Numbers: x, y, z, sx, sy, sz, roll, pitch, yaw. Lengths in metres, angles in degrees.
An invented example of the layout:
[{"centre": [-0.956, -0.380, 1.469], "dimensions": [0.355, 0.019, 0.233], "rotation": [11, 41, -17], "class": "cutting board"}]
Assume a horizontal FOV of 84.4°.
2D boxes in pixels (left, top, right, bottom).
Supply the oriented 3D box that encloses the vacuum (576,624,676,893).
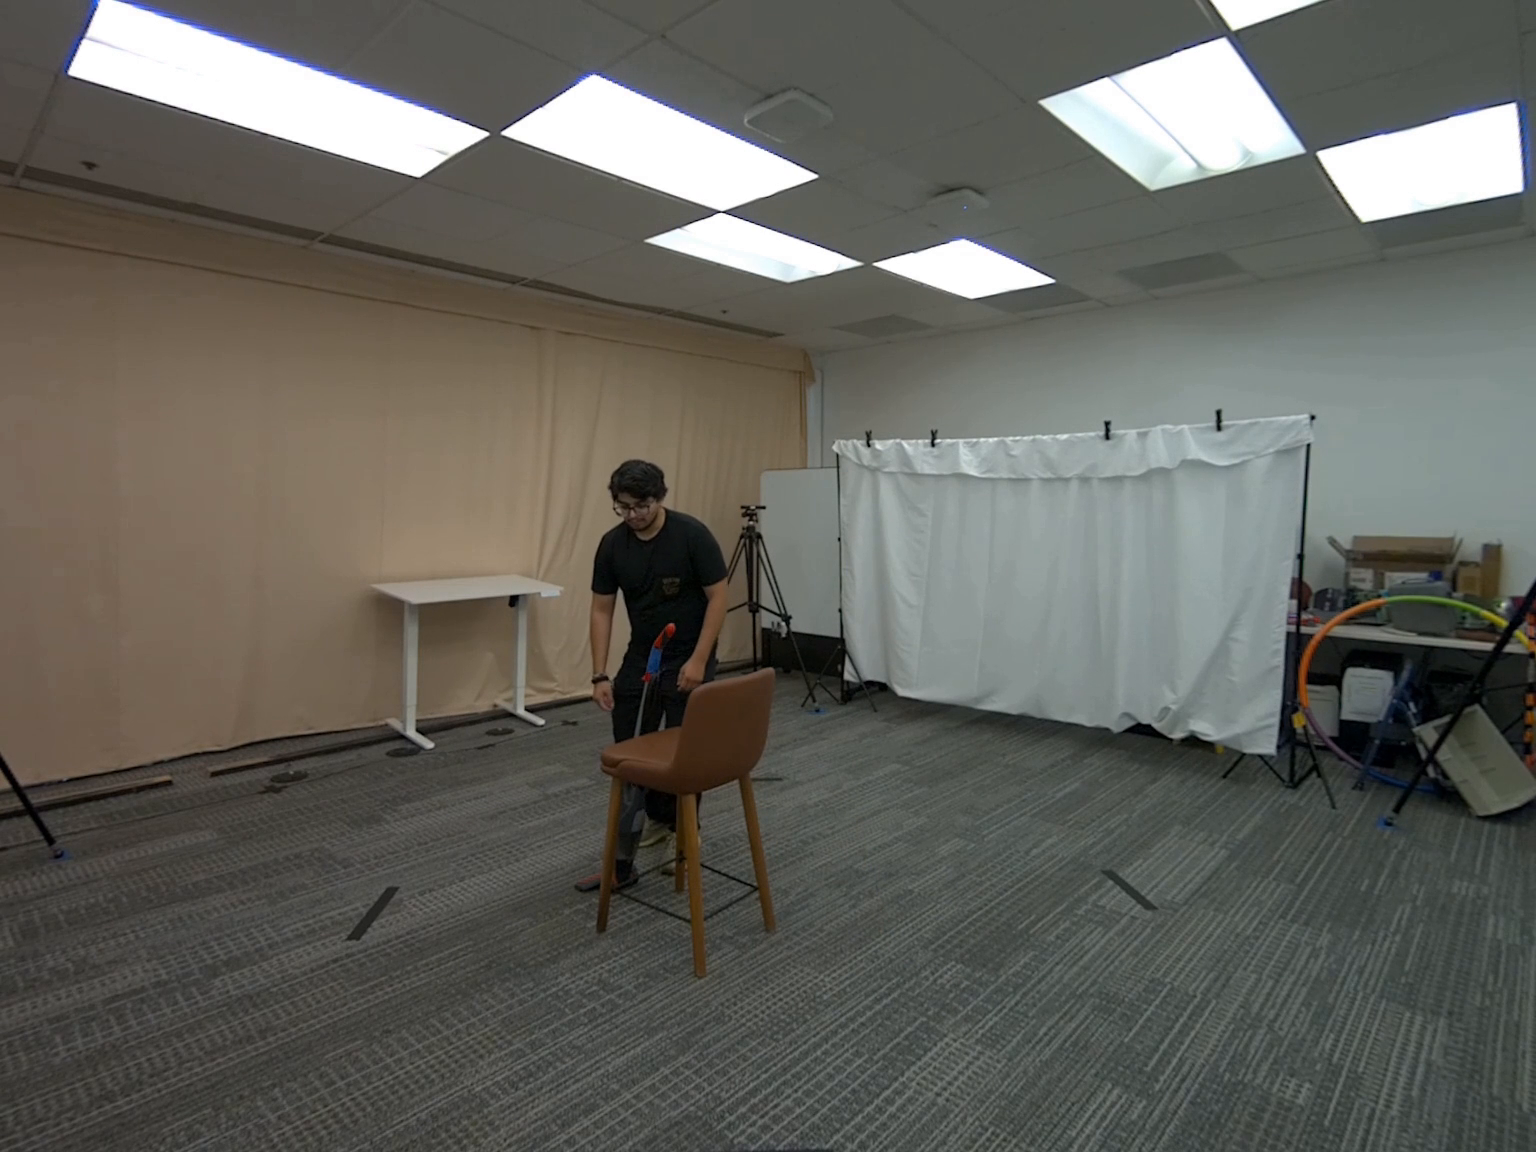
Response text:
[{"centre": [-0.452, 0.655, 2.964], "dimensions": [0.149, 1.043, 0.245], "rotation": [29, 22, 38], "class": "vacuum"}]
